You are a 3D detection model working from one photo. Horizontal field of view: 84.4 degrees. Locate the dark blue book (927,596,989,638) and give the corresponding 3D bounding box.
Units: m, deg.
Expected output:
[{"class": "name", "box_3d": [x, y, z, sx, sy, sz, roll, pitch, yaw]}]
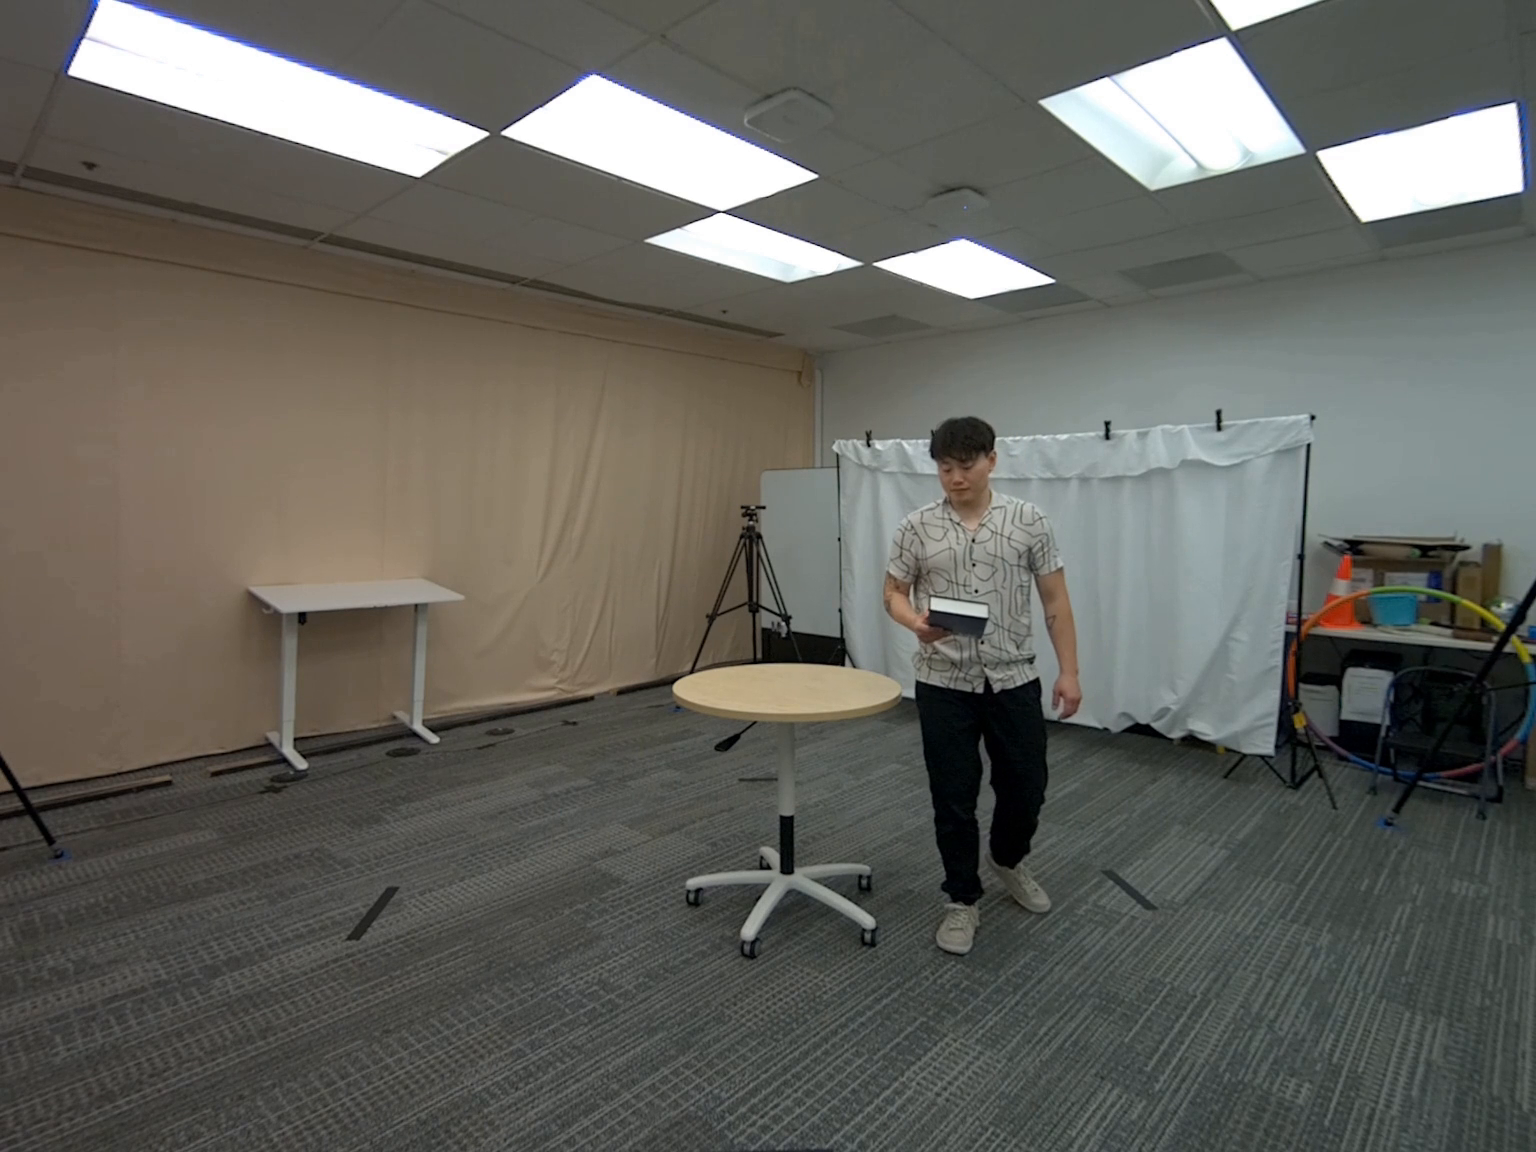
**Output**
[{"class": "dark blue book", "box_3d": [0.549, 0.122, 2.444, 0.166, 0.045, 0.240, 11, -14, 14]}]
